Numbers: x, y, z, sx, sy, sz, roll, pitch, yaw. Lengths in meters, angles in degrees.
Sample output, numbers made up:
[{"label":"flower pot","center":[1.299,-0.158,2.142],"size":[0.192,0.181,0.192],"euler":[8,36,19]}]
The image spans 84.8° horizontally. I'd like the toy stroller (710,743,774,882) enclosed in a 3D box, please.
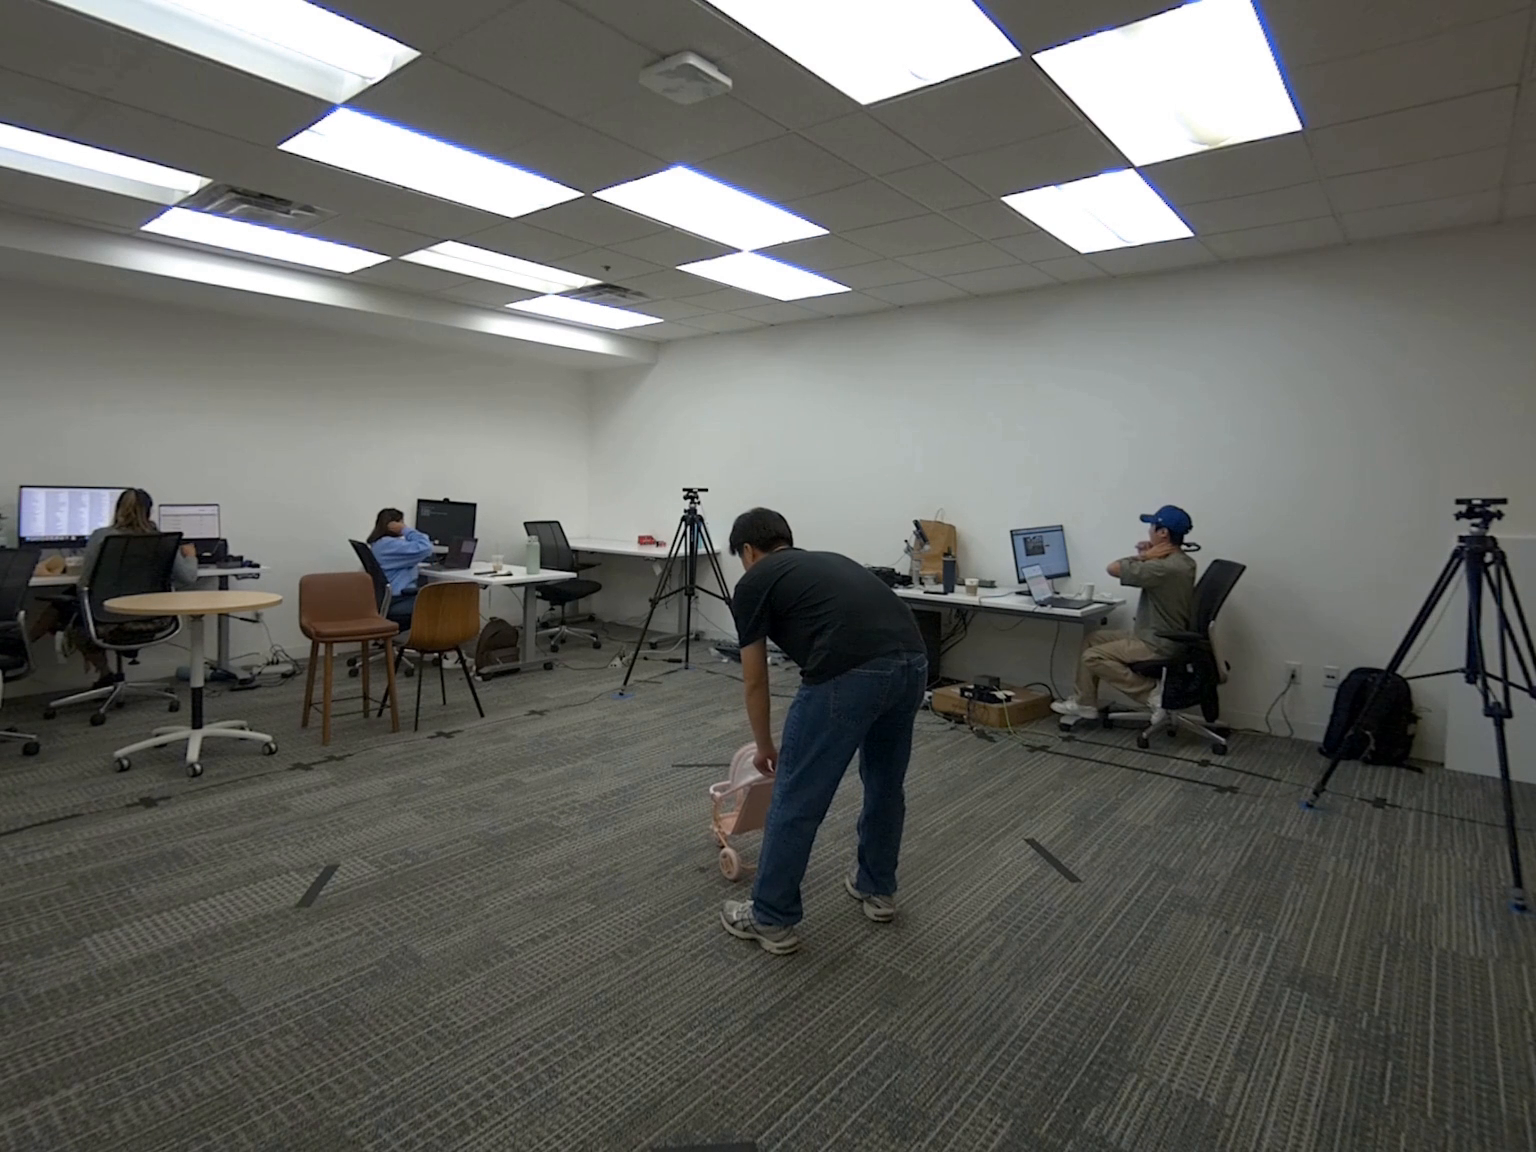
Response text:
[{"label":"toy stroller","center":[-0.079,0.843,3.146],"size":[0.274,0.528,0.355],"euler":[-1,21,-31]}]
